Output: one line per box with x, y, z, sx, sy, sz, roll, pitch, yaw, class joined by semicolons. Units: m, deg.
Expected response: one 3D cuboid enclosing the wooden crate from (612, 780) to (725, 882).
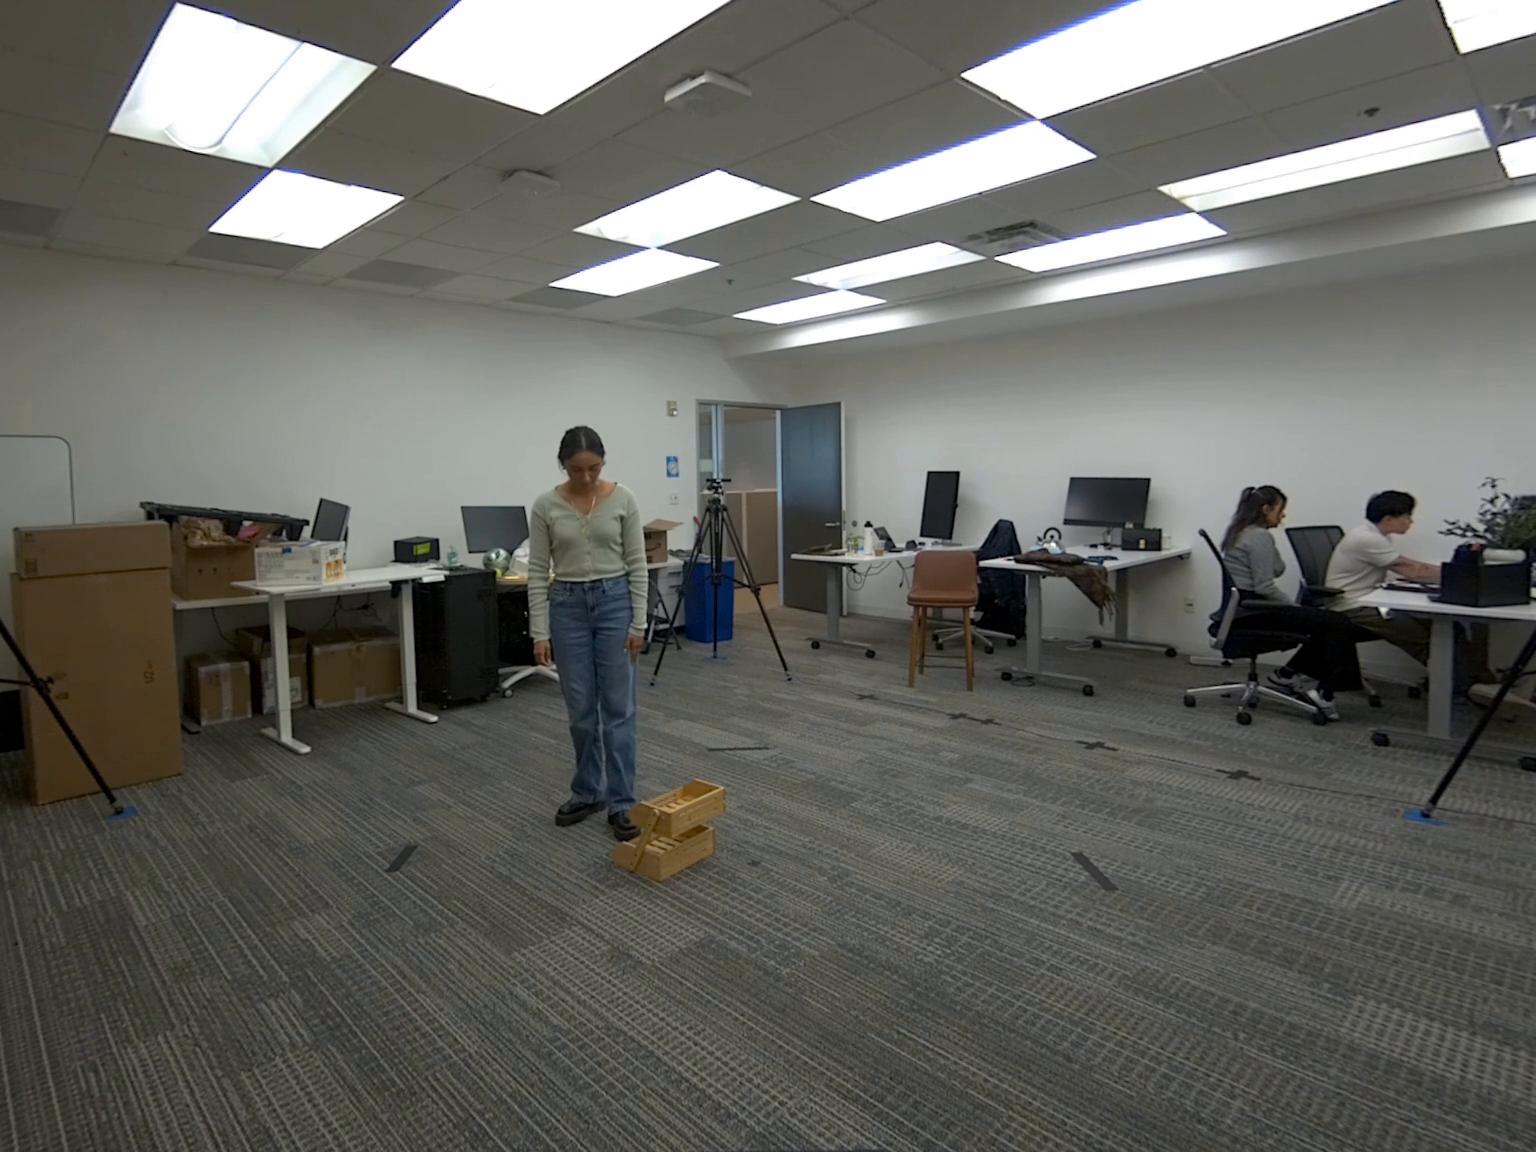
-0.365;0.912;3.140;0.311;0.272;0.316;4;7;37;wooden crate
